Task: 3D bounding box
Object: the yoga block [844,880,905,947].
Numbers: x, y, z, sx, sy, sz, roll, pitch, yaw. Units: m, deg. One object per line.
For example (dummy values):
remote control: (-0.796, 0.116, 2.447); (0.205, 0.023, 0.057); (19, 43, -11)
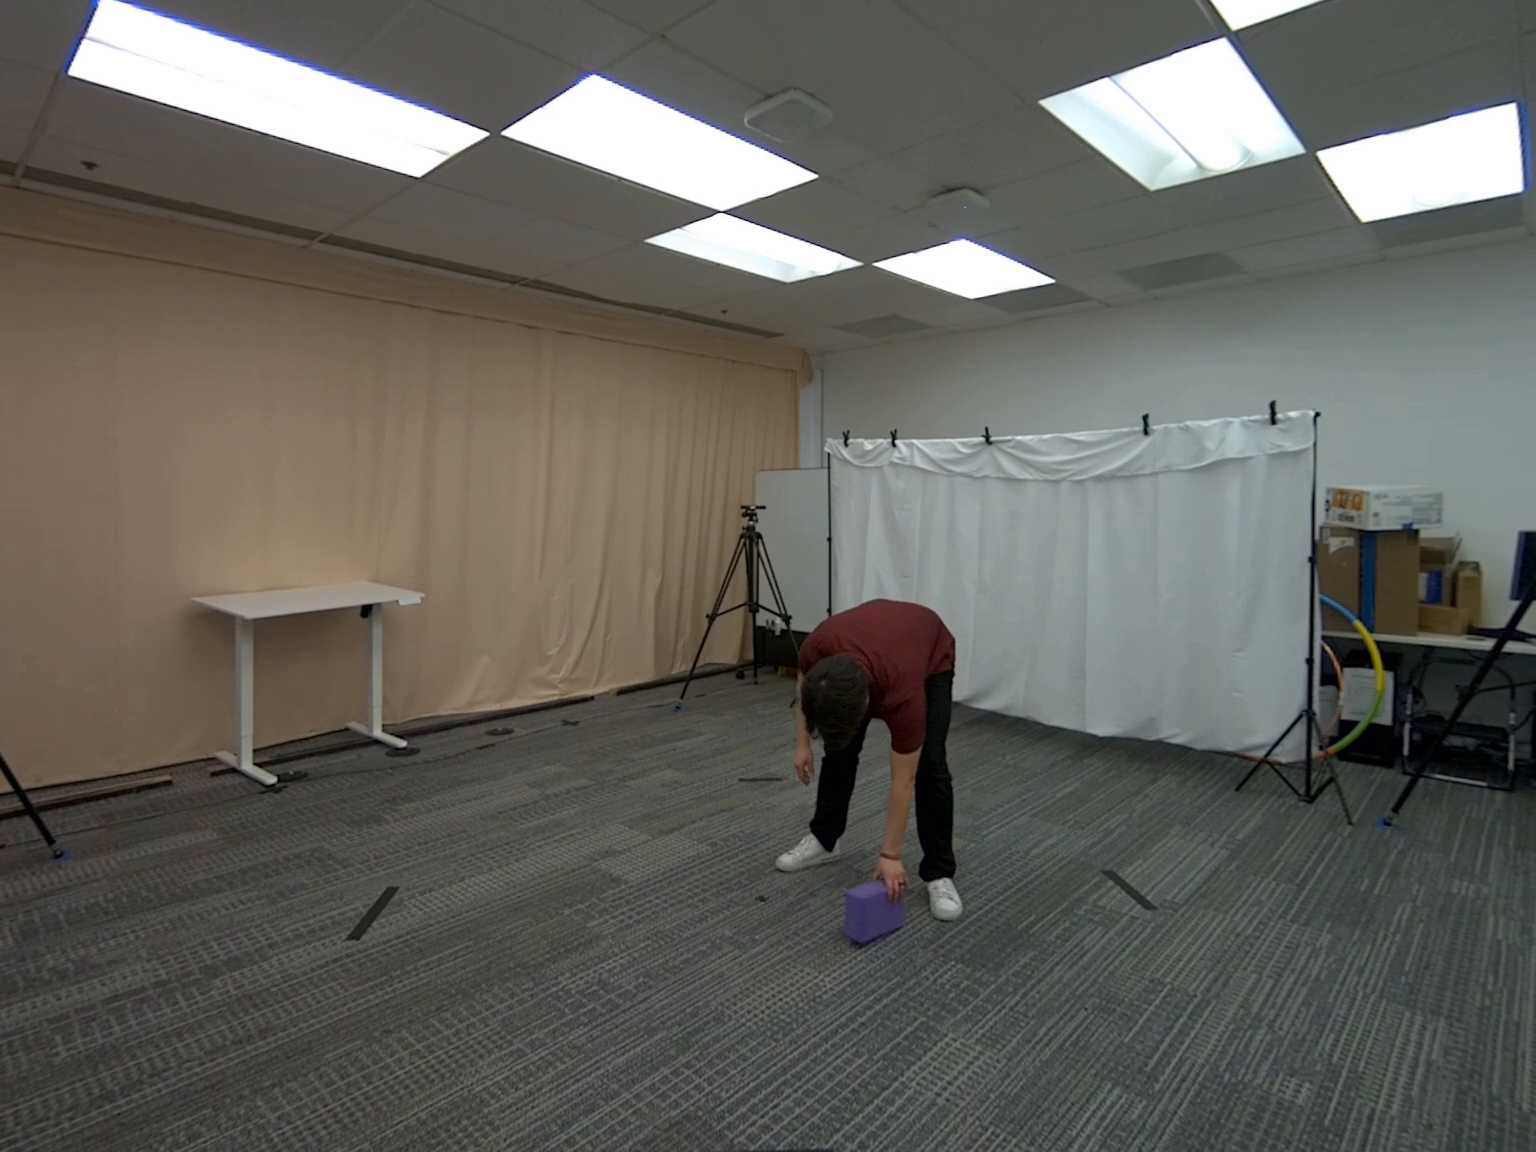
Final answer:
yoga block: (0.352, 1.075, 2.747); (0.222, 0.149, 0.079); (0, 2, -43)
